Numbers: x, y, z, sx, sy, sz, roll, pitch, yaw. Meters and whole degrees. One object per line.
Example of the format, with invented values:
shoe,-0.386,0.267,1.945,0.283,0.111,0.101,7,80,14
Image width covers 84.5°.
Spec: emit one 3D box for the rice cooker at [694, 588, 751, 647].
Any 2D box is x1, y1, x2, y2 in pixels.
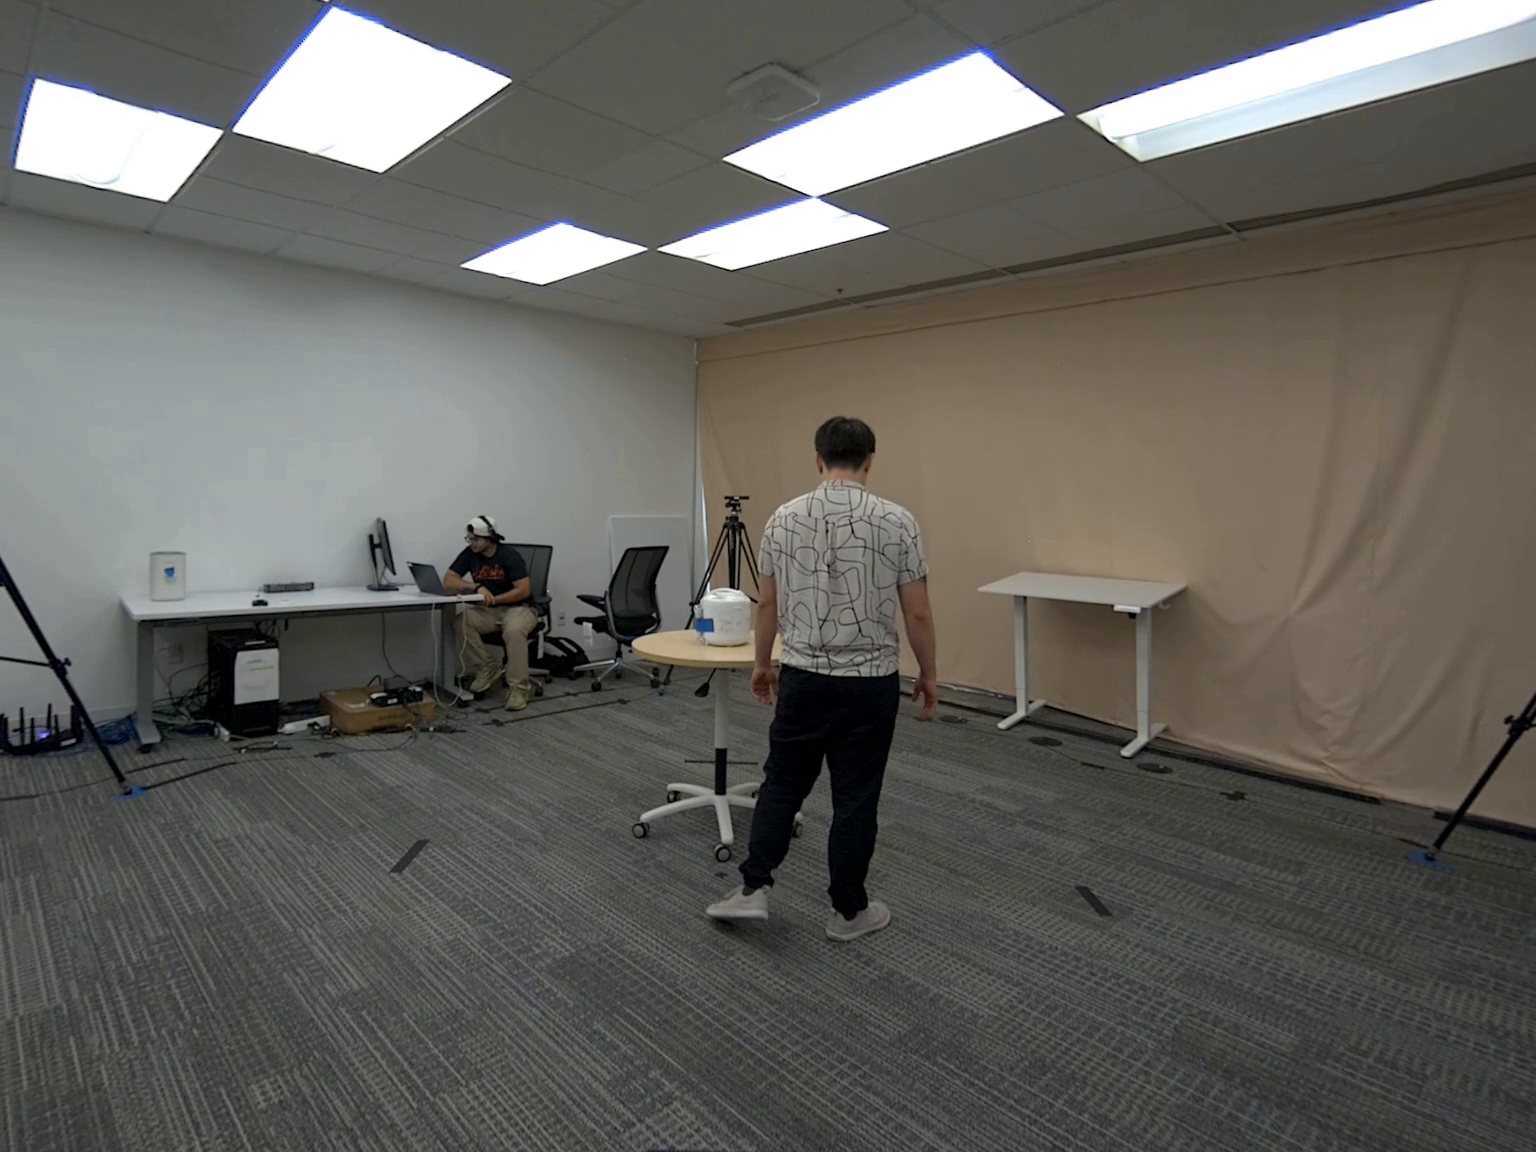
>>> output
rice cooker,-0.186,0.167,3.532,0.225,0.232,0.214,4,6,24
